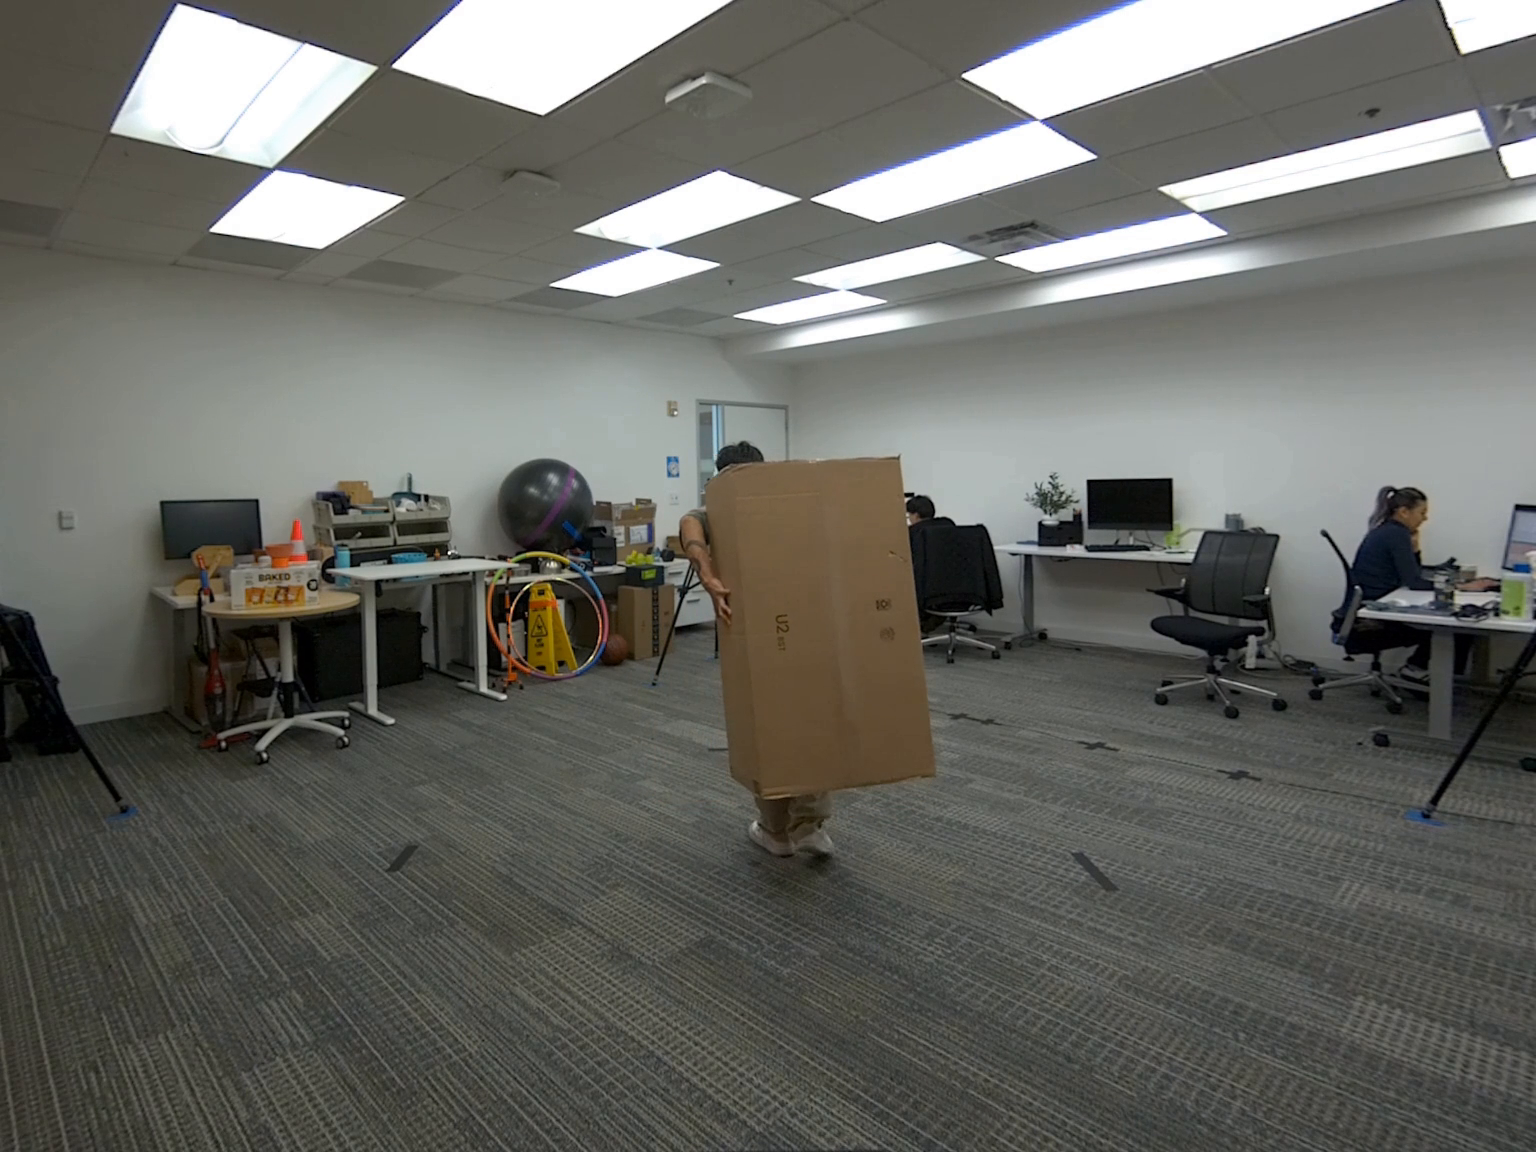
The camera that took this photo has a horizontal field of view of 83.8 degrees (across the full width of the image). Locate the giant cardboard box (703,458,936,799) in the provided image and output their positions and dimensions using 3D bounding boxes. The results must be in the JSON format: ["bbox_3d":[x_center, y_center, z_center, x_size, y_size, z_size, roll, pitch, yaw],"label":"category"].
[{"bbox_3d":[0.154,0.155,2.852,0.570,1.030,0.430,-5,-4,-15],"label":"giant cardboard box"}]
